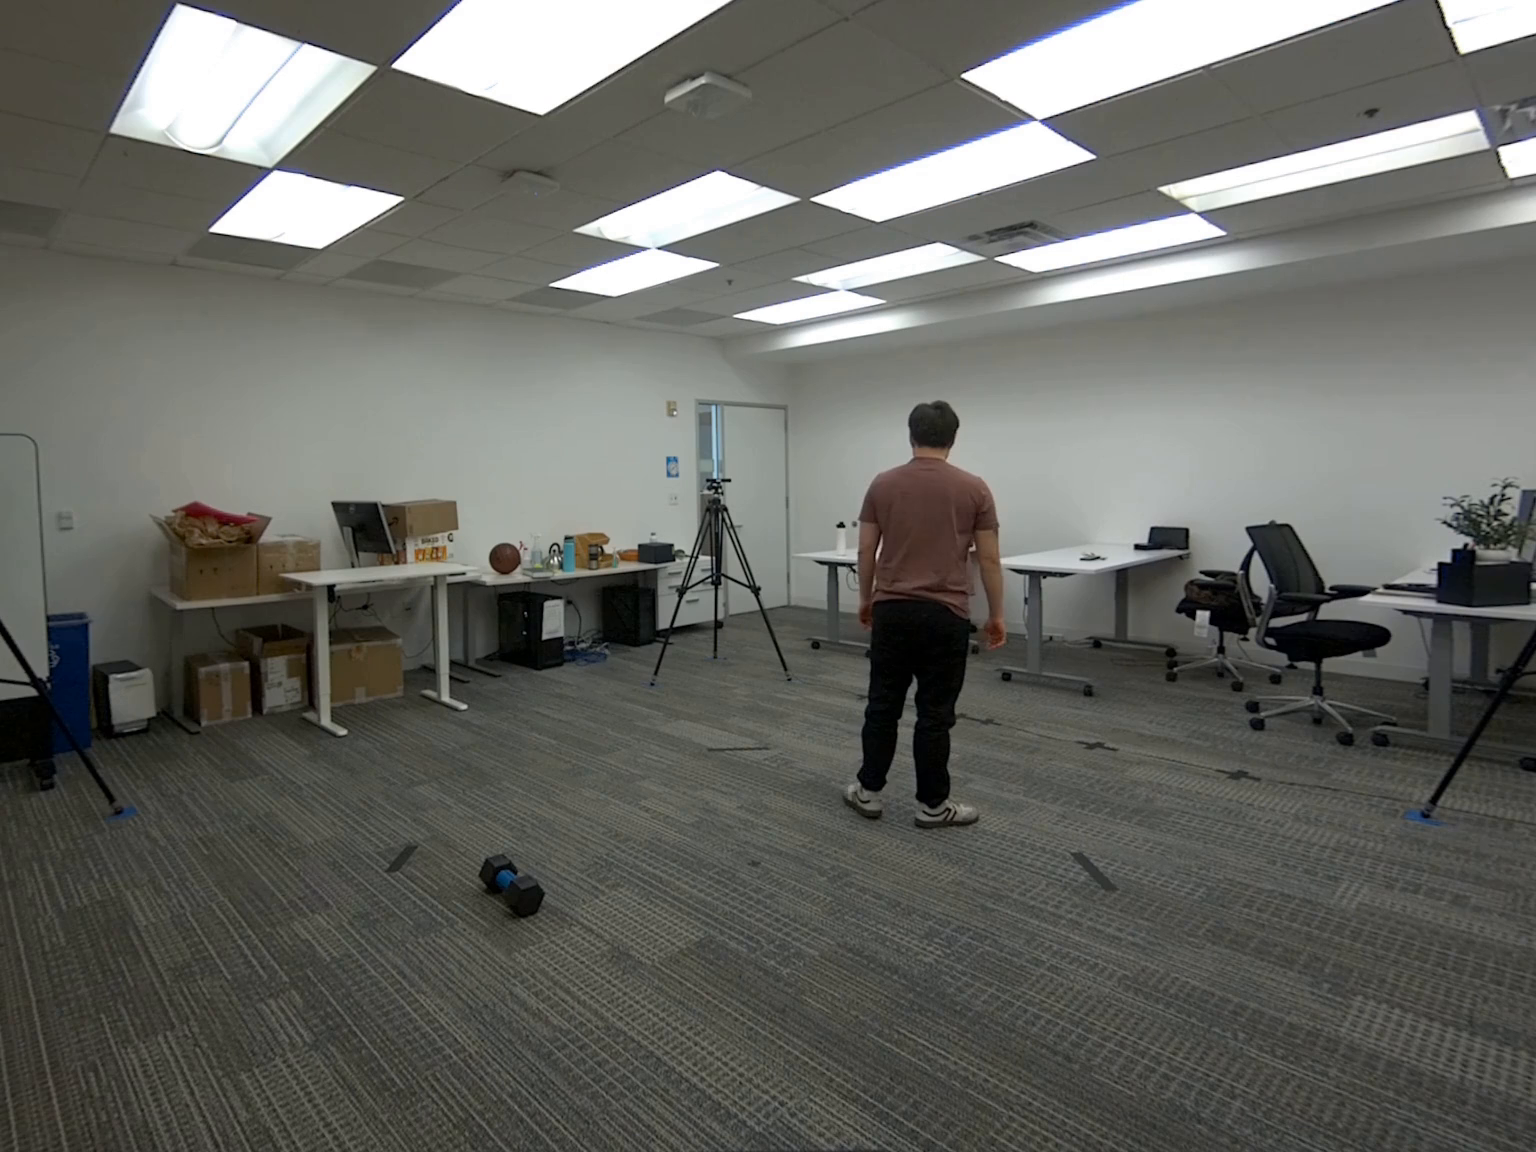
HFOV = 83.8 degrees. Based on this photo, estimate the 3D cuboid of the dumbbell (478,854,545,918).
[{"bbox_3d":[-0.858,1.035,2.867,0.120,0.108,0.302,-6,8,-39],"label":"dumbbell"}]
